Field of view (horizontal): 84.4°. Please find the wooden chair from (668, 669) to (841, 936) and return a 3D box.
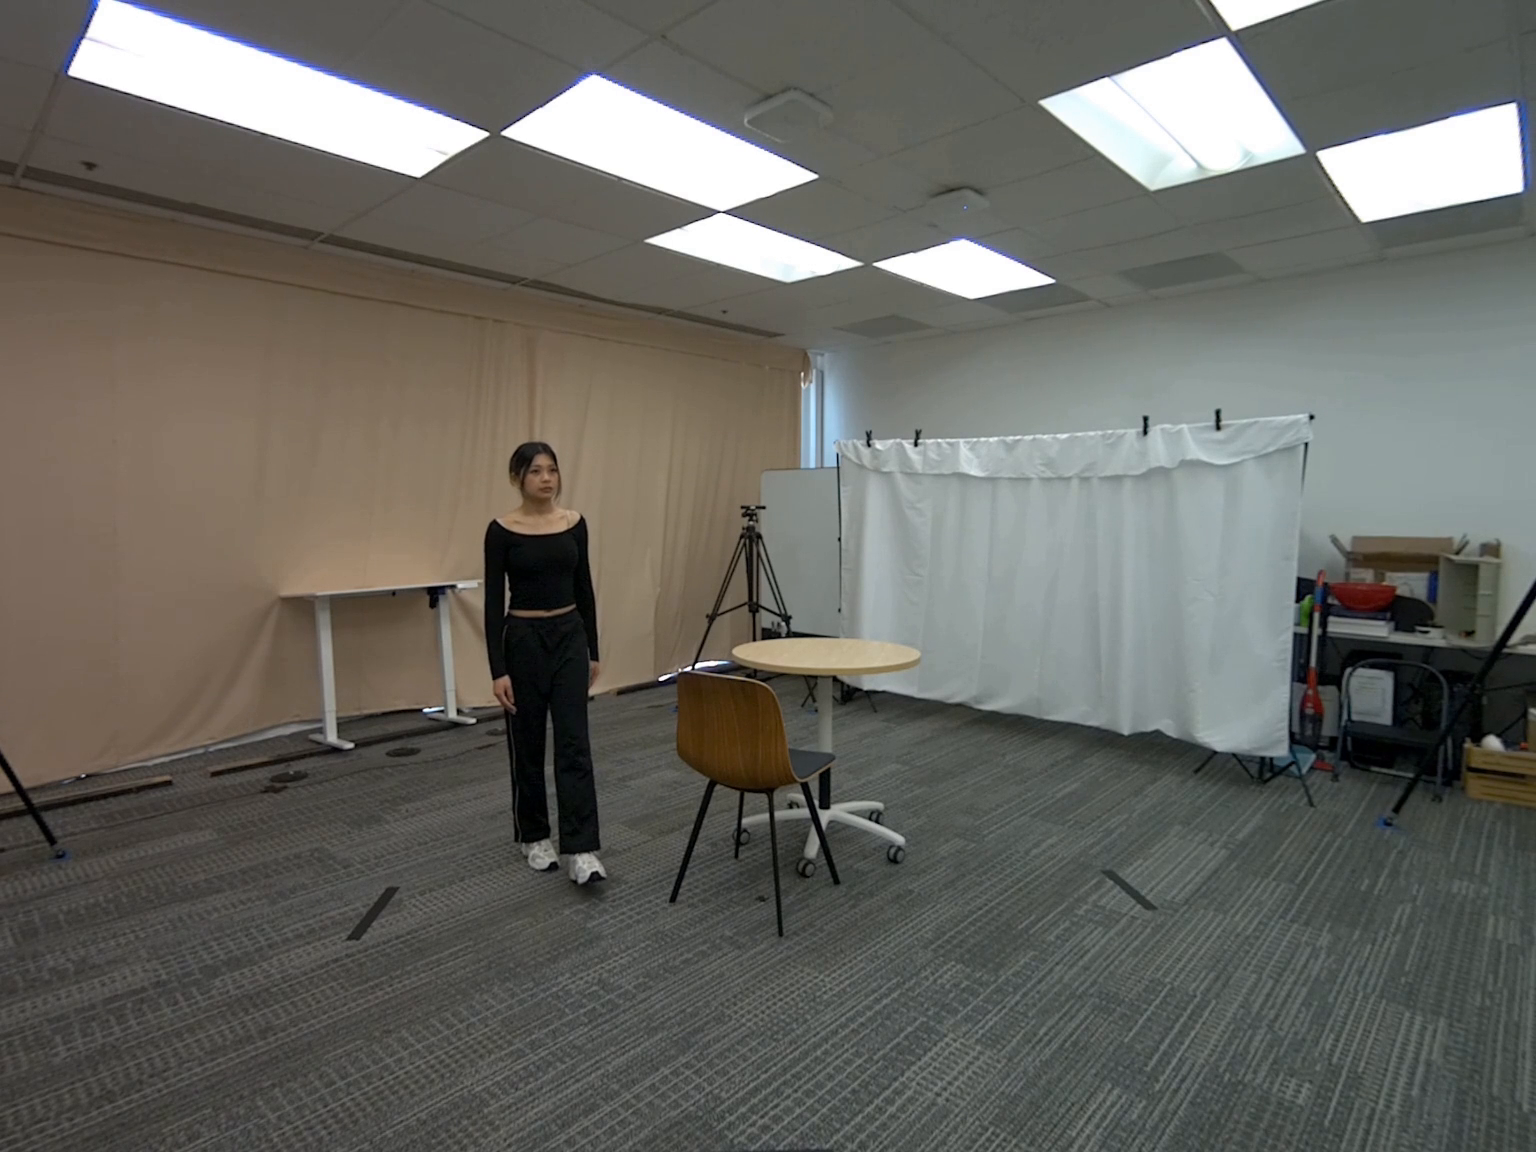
[{"bbox_3d":[-0.037,0.714,3.000,0.492,0.873,0.510,2,8,32],"label":"wooden chair"}]
